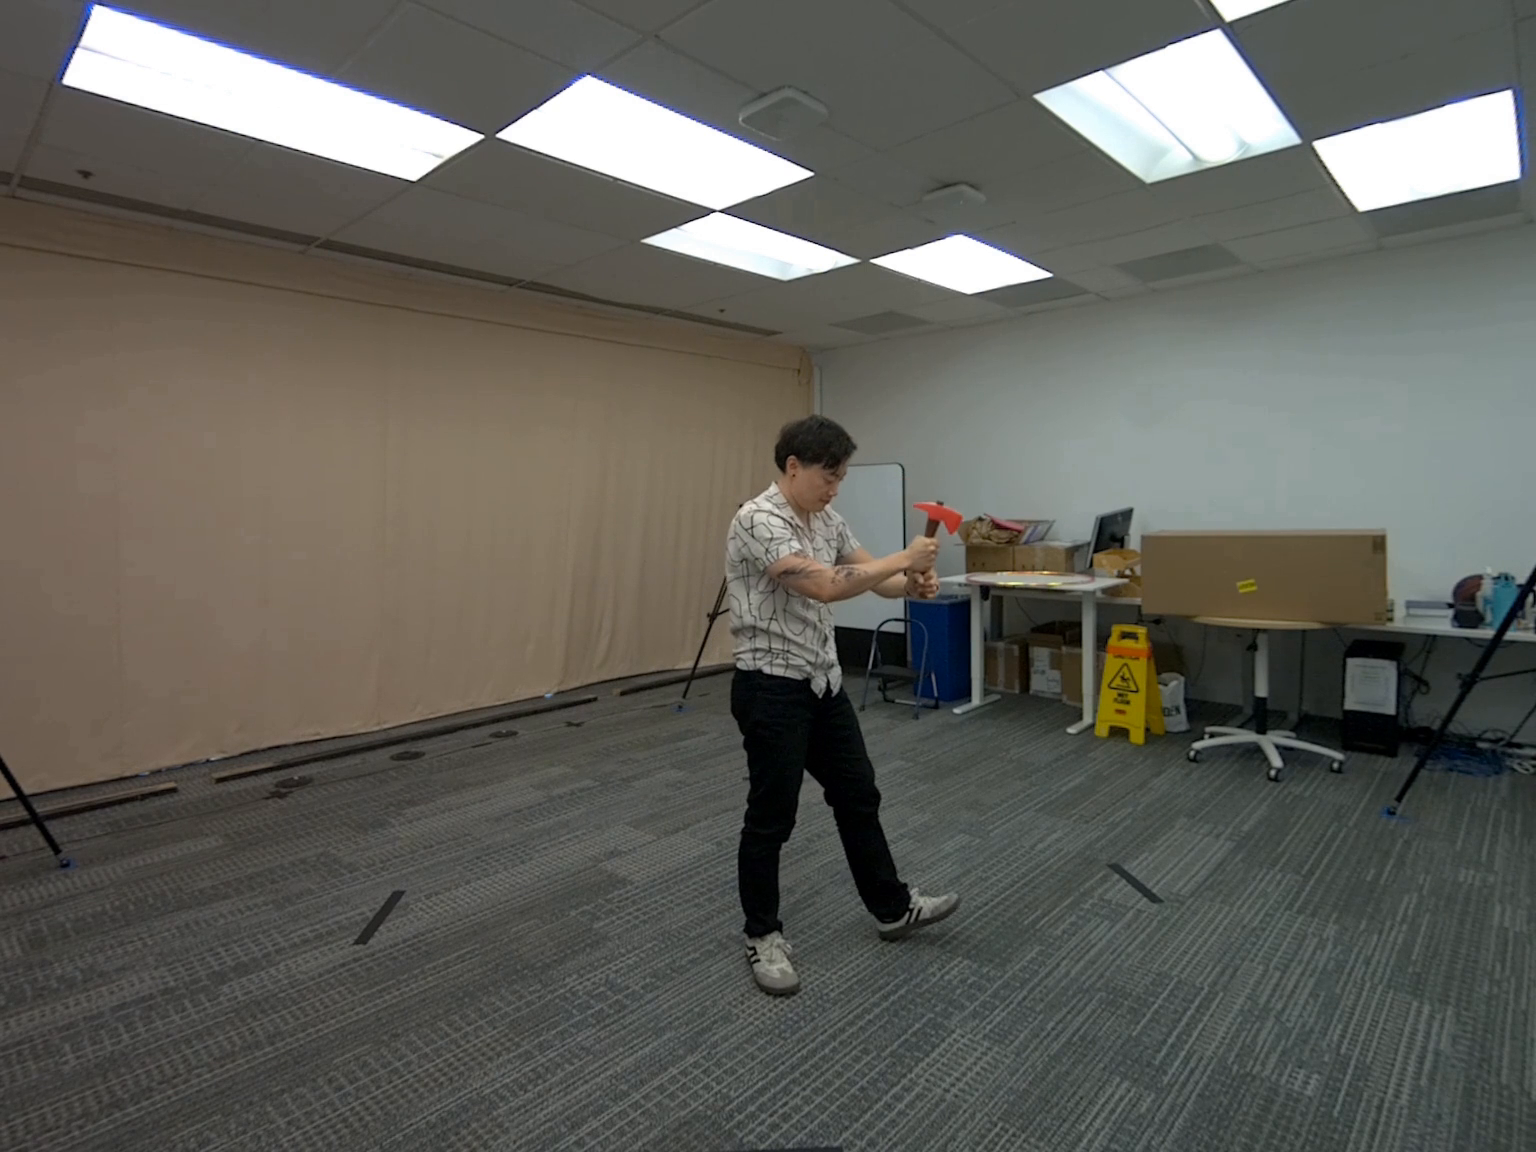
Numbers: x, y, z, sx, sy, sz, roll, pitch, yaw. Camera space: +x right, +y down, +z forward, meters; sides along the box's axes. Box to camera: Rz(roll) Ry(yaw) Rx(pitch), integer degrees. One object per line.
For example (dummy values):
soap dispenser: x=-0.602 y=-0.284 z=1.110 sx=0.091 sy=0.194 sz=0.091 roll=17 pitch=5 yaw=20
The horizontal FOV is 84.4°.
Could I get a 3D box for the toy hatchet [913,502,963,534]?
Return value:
toy hatchet: x=0.475 y=-0.076 z=2.286 sx=0.133 sy=0.268 sz=0.029 roll=-2 pitch=11 yaw=12
